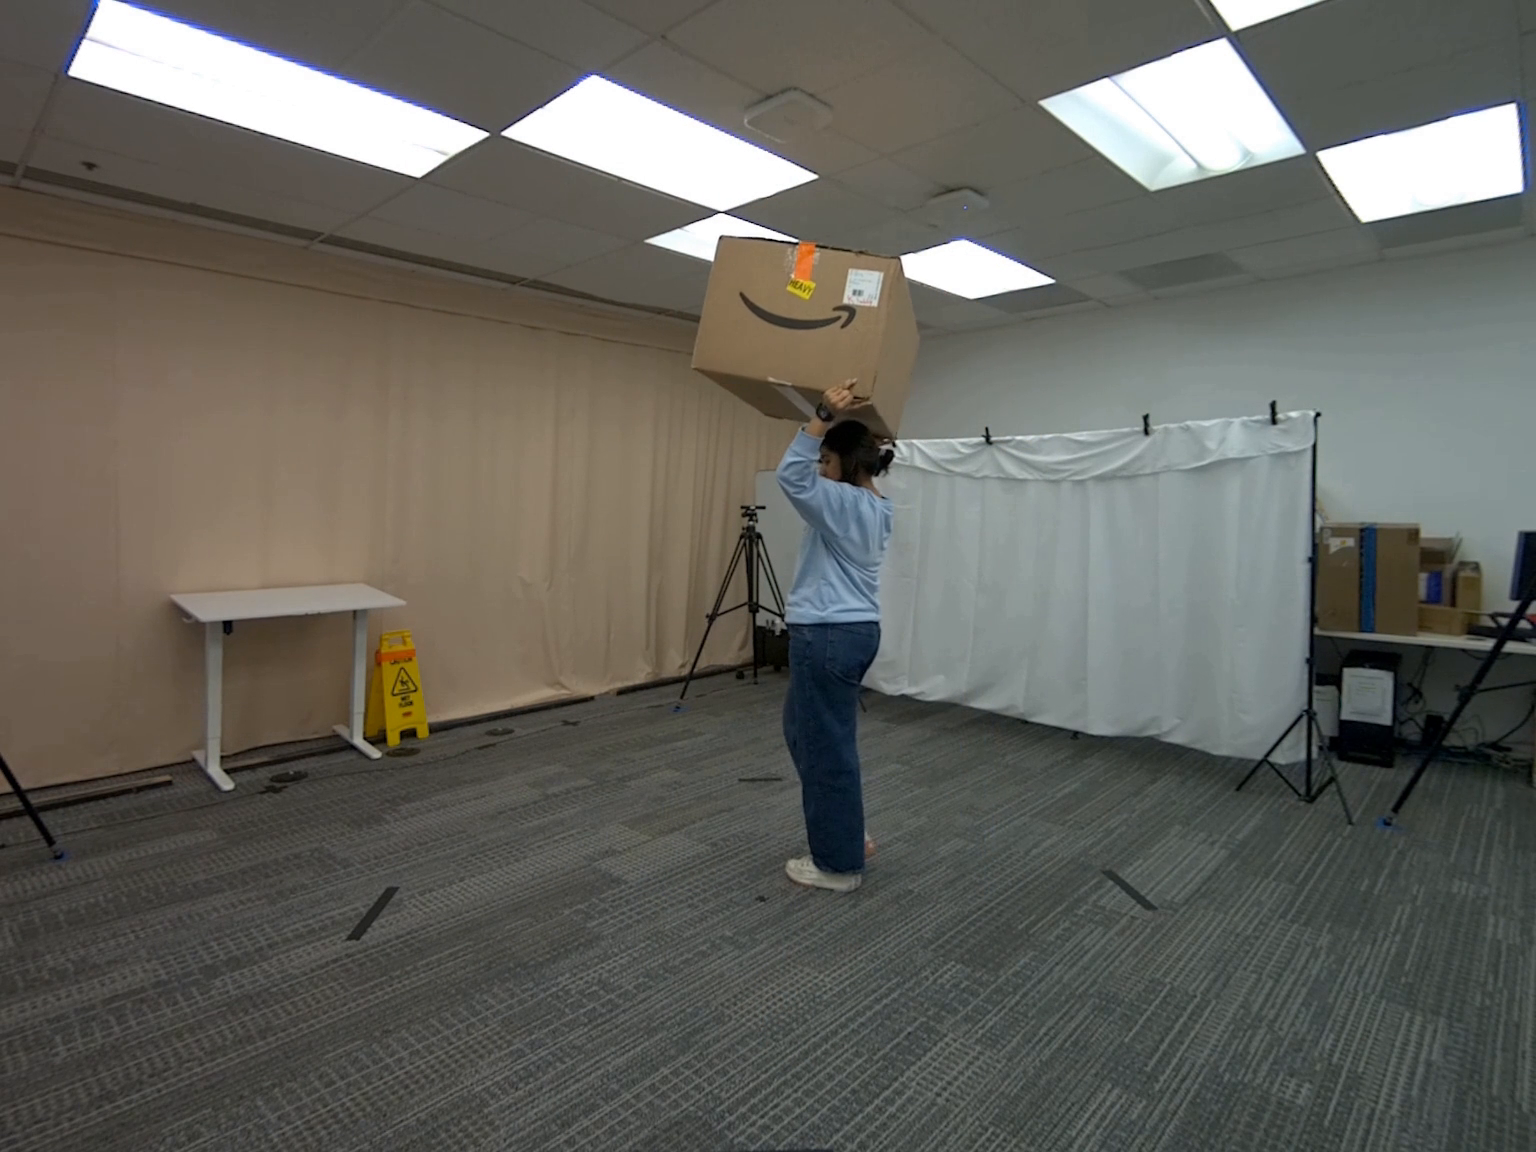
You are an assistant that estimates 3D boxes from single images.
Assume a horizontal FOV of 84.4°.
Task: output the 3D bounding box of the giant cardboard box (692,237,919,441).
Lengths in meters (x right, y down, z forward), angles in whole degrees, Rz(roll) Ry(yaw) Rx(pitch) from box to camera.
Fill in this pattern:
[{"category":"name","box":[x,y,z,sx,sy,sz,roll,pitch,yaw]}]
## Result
[{"category":"giant cardboard box","box":[0.188,-0.808,3.041,0.587,0.425,1.010,14,6,13]}]
